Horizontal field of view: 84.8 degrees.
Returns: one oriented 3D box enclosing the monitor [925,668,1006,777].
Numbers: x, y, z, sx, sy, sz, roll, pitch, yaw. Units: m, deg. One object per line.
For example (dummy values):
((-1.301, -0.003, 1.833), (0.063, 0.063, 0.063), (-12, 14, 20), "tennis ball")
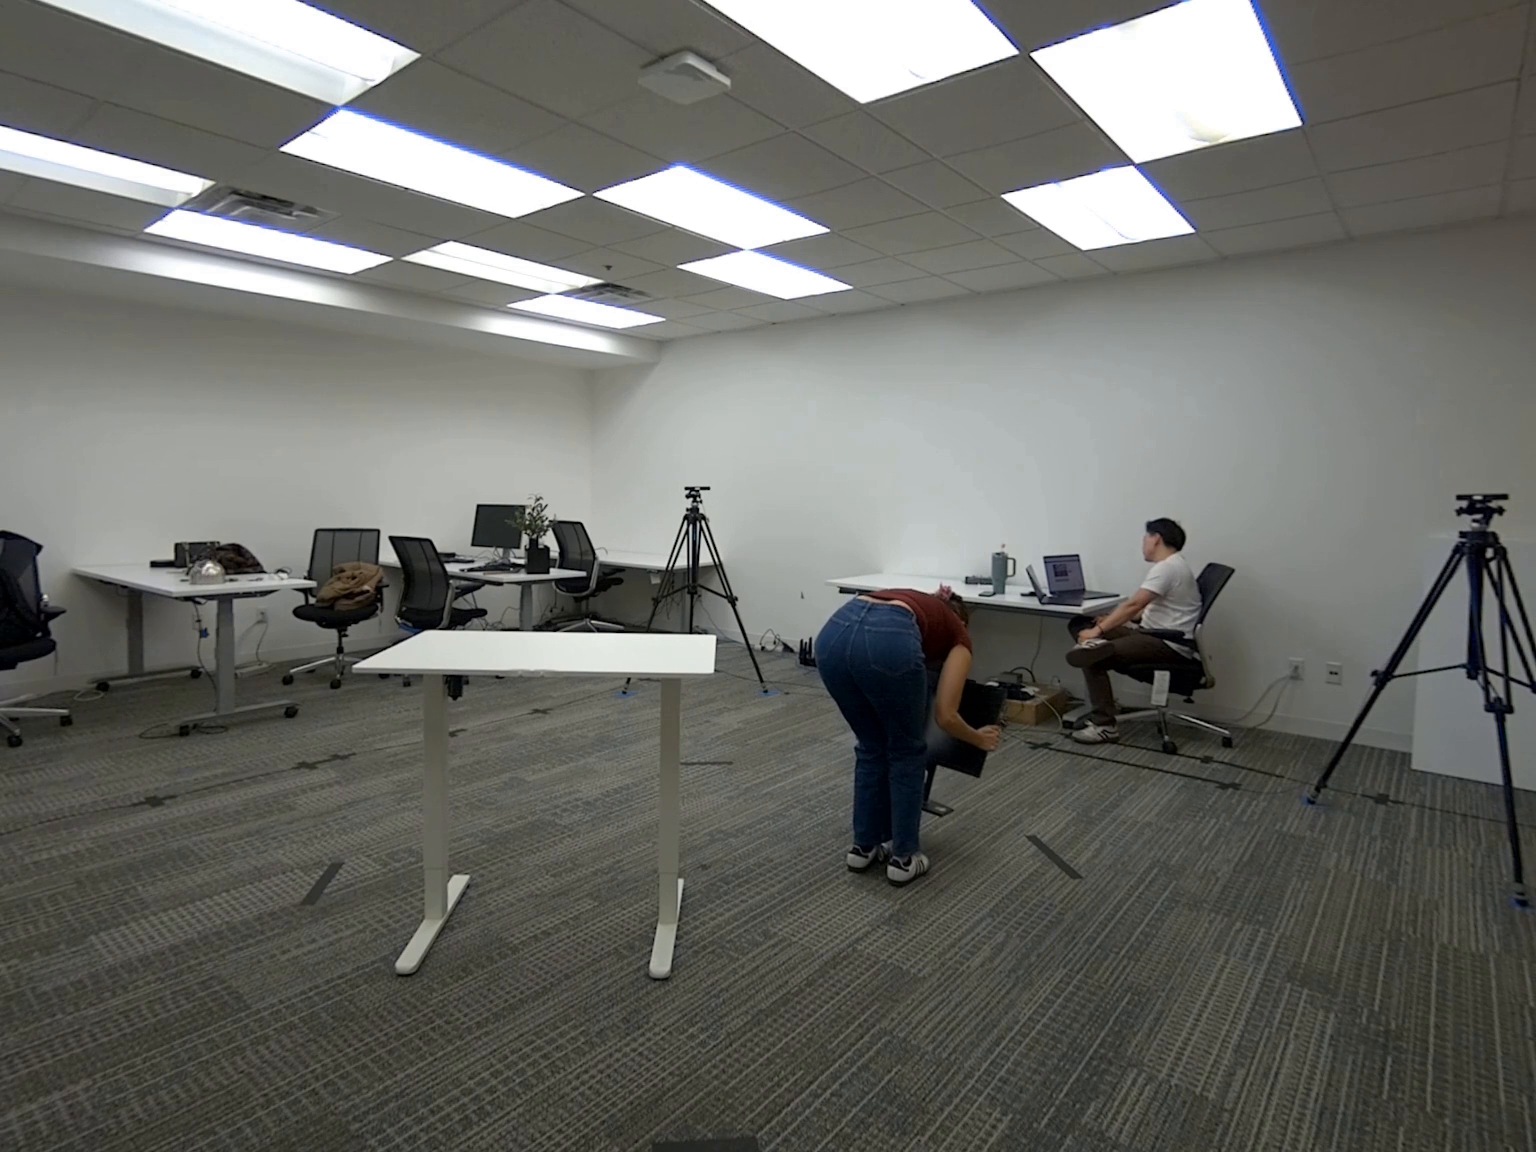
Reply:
((0.636, 0.645, 3.393), (0.558, 0.524, 0.180), (9, -5, 36), "monitor")
